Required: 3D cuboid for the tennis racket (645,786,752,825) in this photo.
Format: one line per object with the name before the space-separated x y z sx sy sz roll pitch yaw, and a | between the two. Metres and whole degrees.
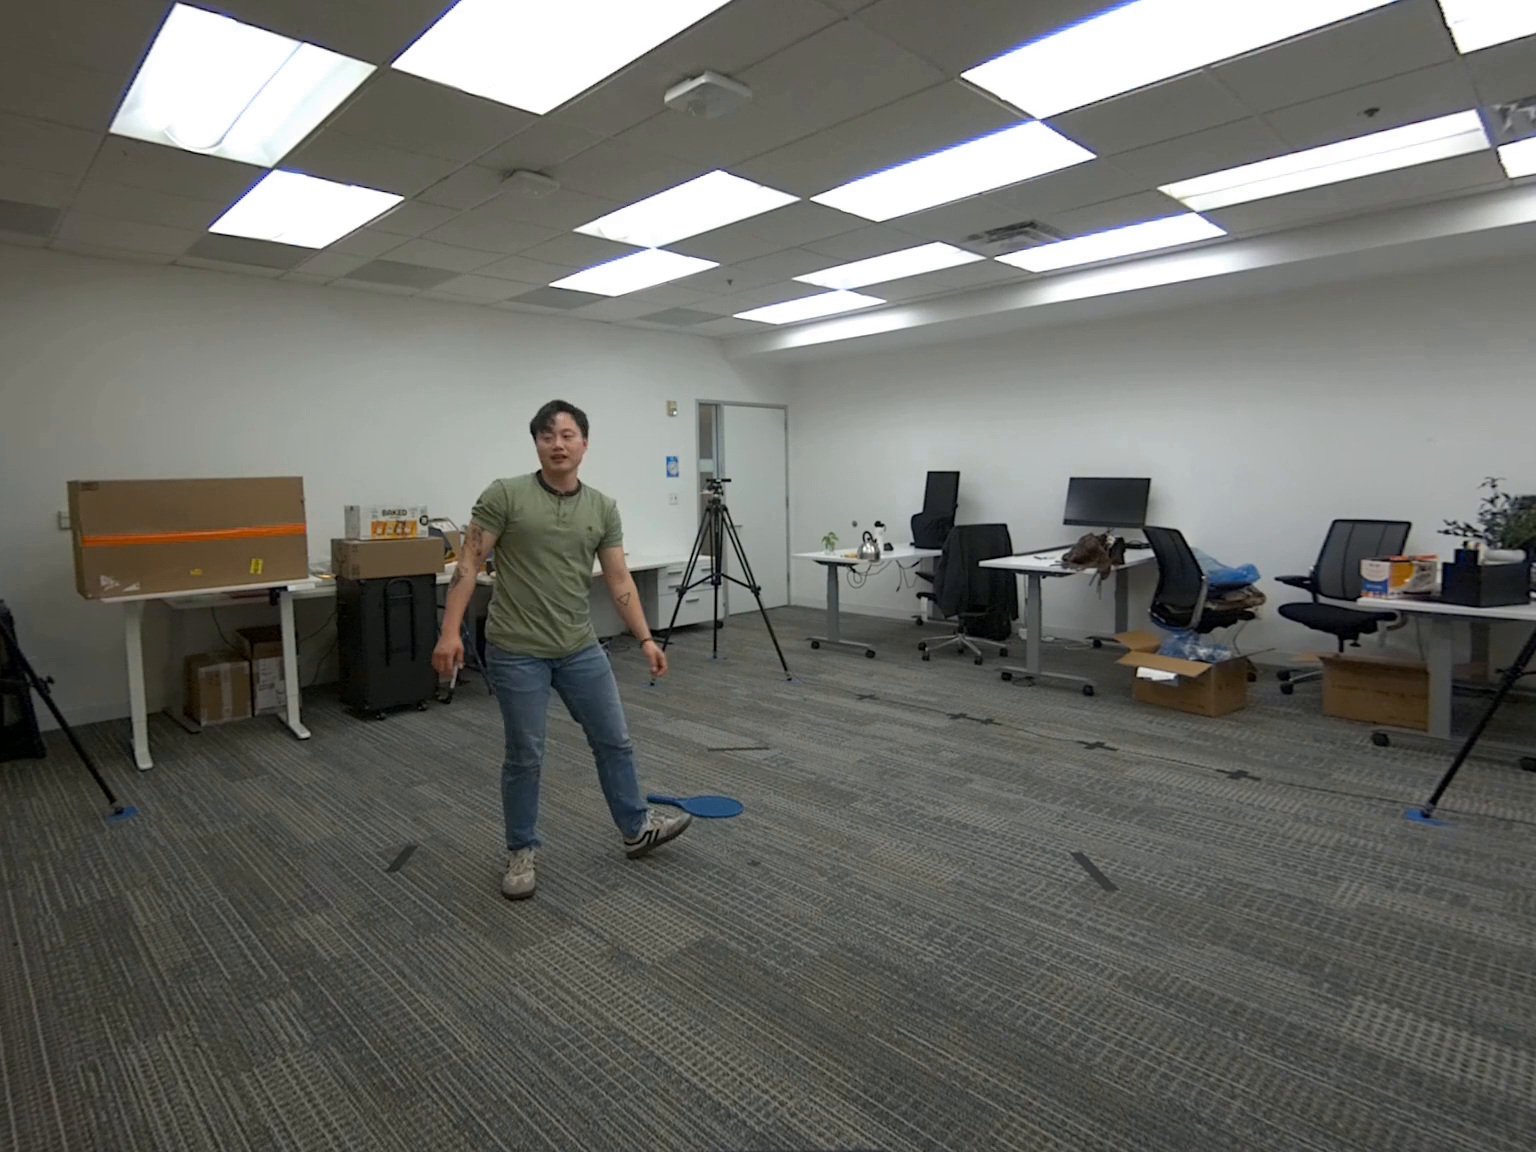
tennis racket | -0.311 0.974 3.658 0.441 0.031 0.211 2 6 18
